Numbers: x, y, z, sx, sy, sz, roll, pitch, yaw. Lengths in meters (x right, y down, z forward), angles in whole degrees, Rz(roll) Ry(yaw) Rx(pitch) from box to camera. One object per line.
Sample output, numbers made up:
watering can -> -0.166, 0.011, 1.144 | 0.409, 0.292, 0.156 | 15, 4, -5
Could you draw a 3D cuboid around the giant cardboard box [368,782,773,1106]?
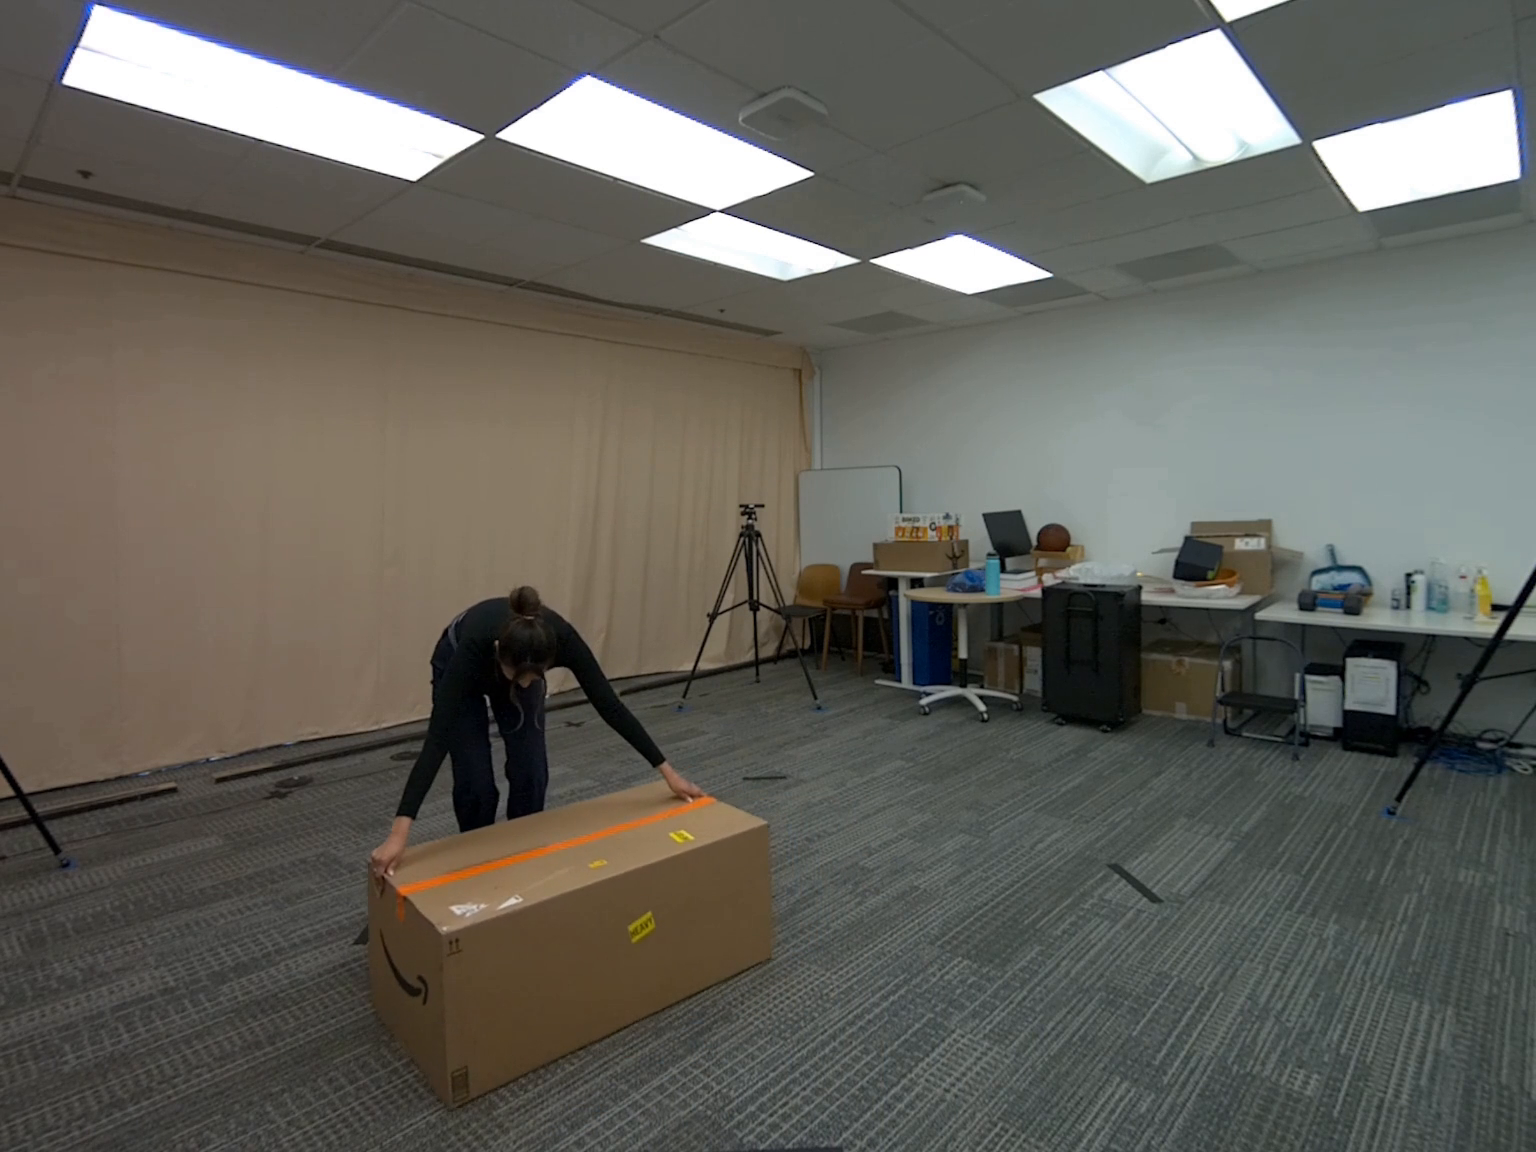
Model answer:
giant cardboard box -> -0.546, 0.982, 2.471 | 0.995, 0.425, 0.596 | -5, 6, -41
